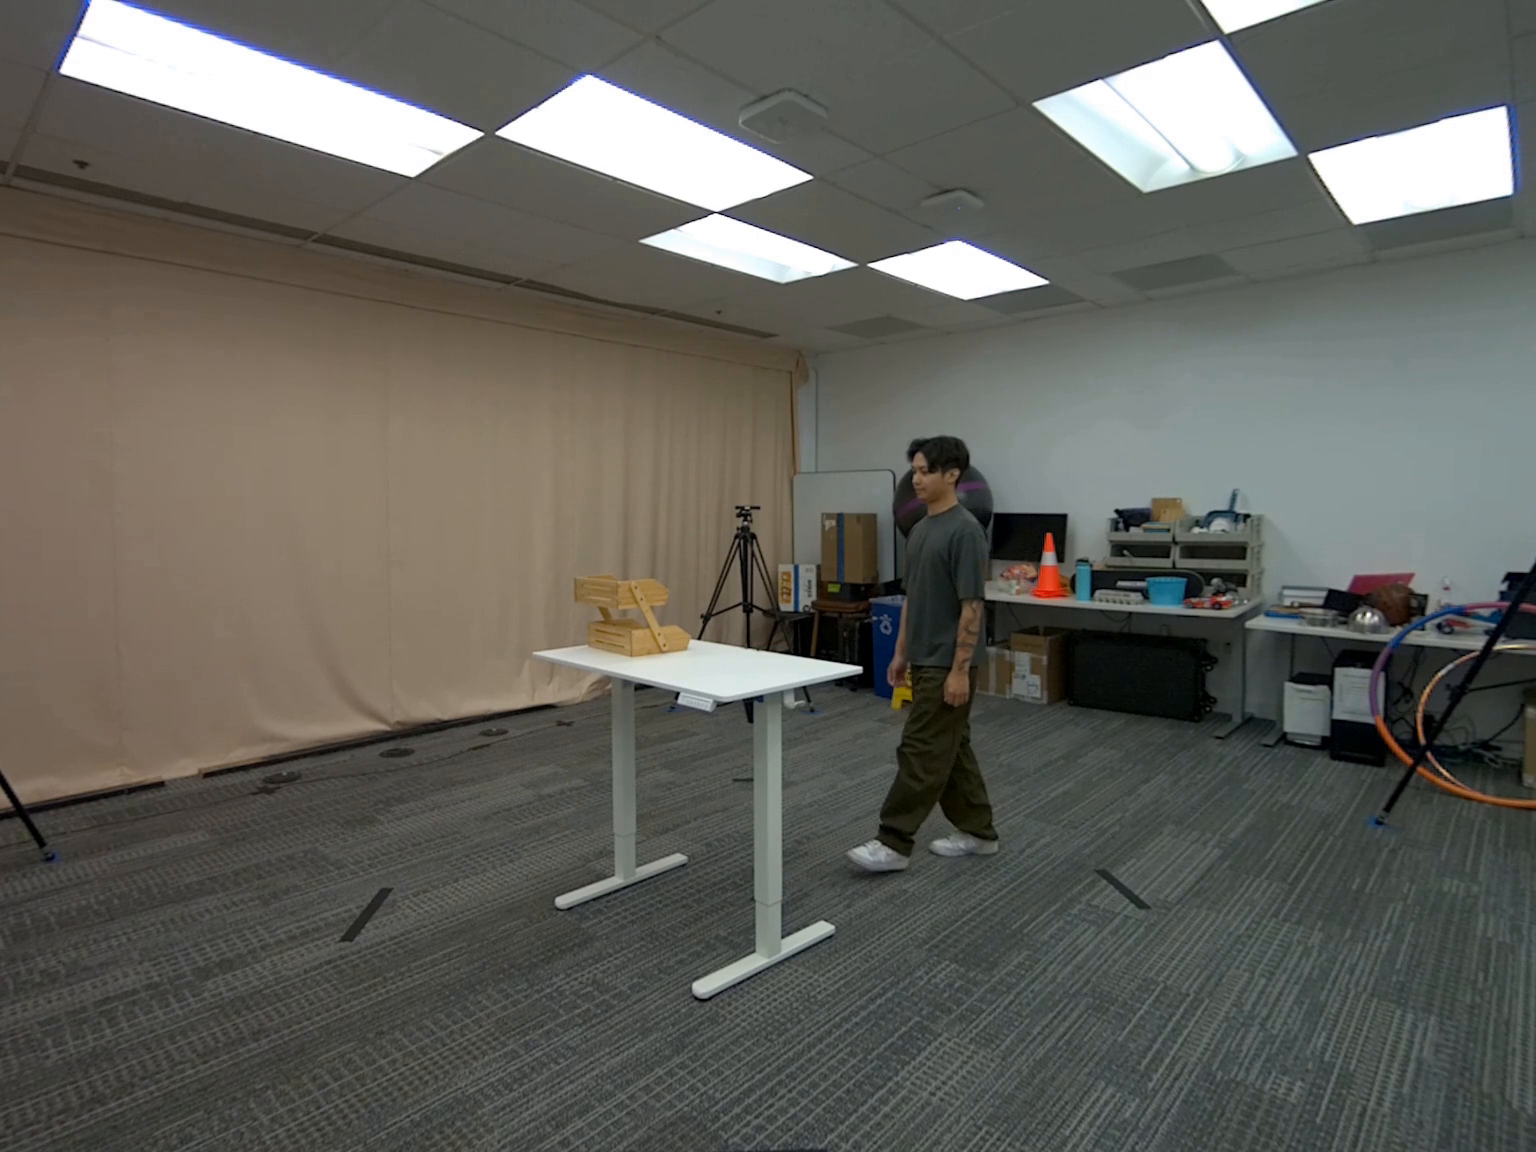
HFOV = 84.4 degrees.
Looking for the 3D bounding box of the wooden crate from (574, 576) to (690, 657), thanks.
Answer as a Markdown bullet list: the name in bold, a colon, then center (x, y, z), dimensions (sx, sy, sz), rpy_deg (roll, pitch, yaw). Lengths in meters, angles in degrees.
- **wooden crate**: center (-0.494, 0.133, 3.028), dimensions (0.293, 0.273, 0.335), rpy_deg (-4, 5, -41)
